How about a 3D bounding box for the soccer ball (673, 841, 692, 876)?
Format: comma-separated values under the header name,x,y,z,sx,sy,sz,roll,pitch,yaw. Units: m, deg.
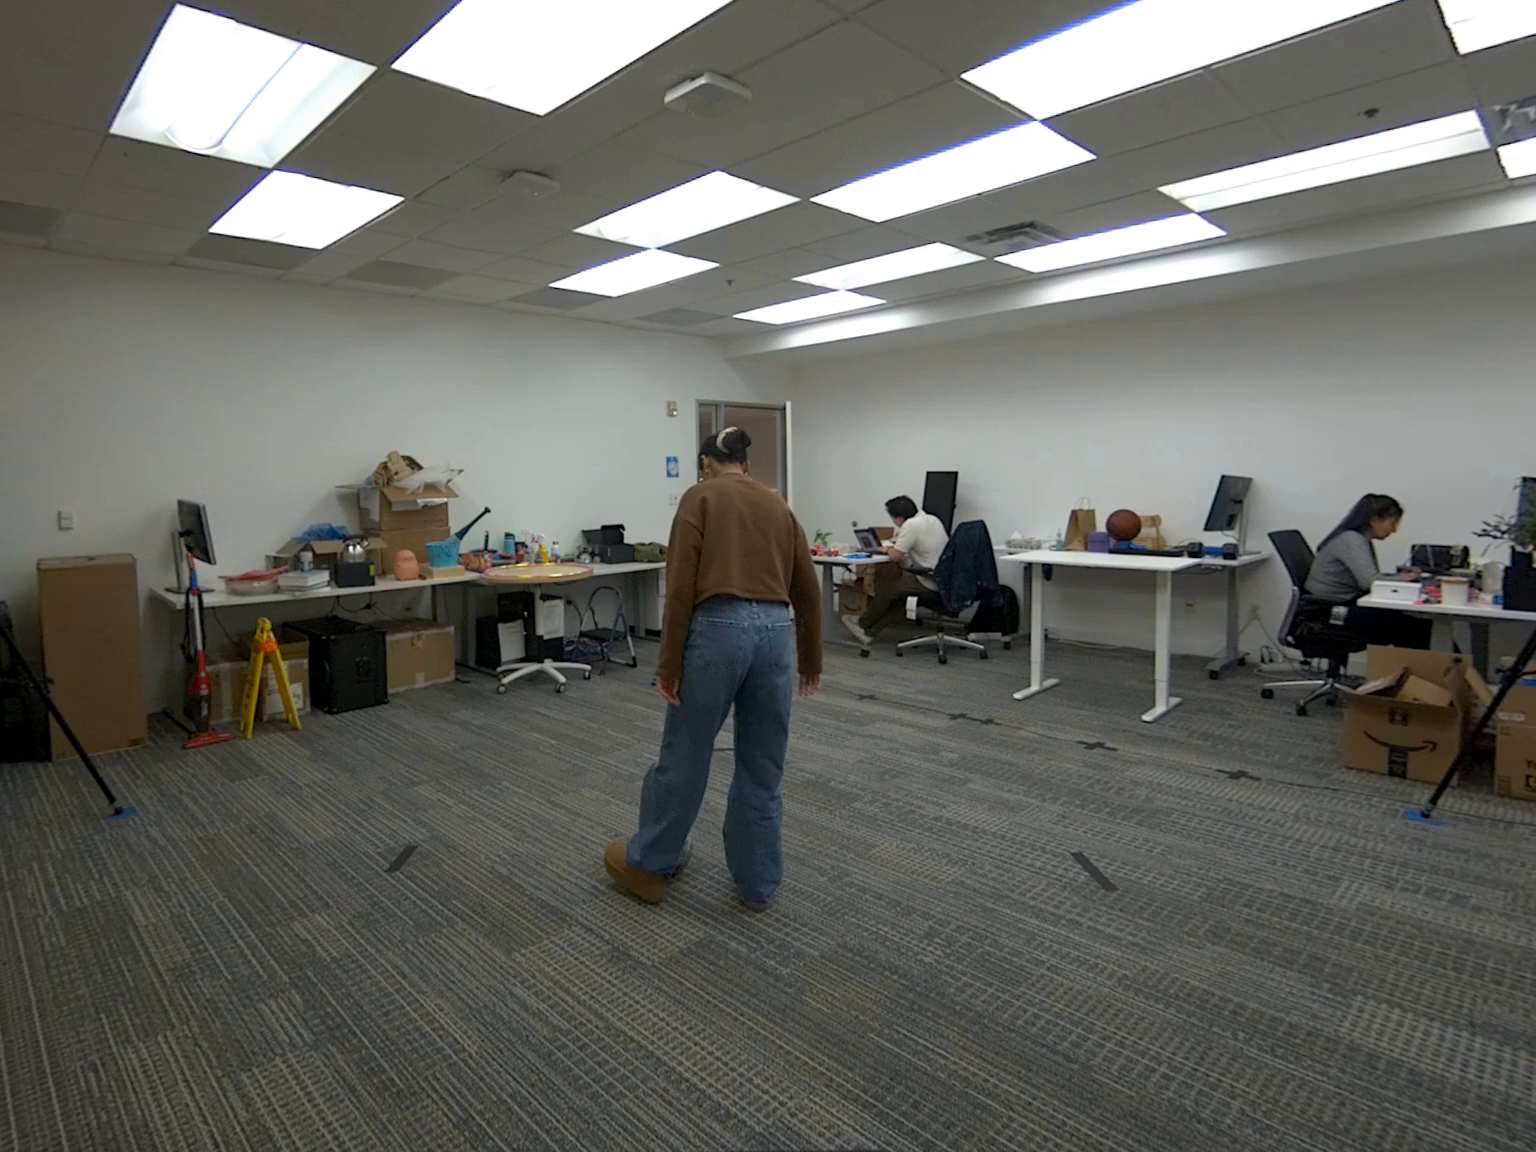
name,x,y,z,sx,sy,sz,roll,pitch,yaw
soccer ball,-0.342,0.966,3.039,0.187,0.187,0.188,-1,5,-2
